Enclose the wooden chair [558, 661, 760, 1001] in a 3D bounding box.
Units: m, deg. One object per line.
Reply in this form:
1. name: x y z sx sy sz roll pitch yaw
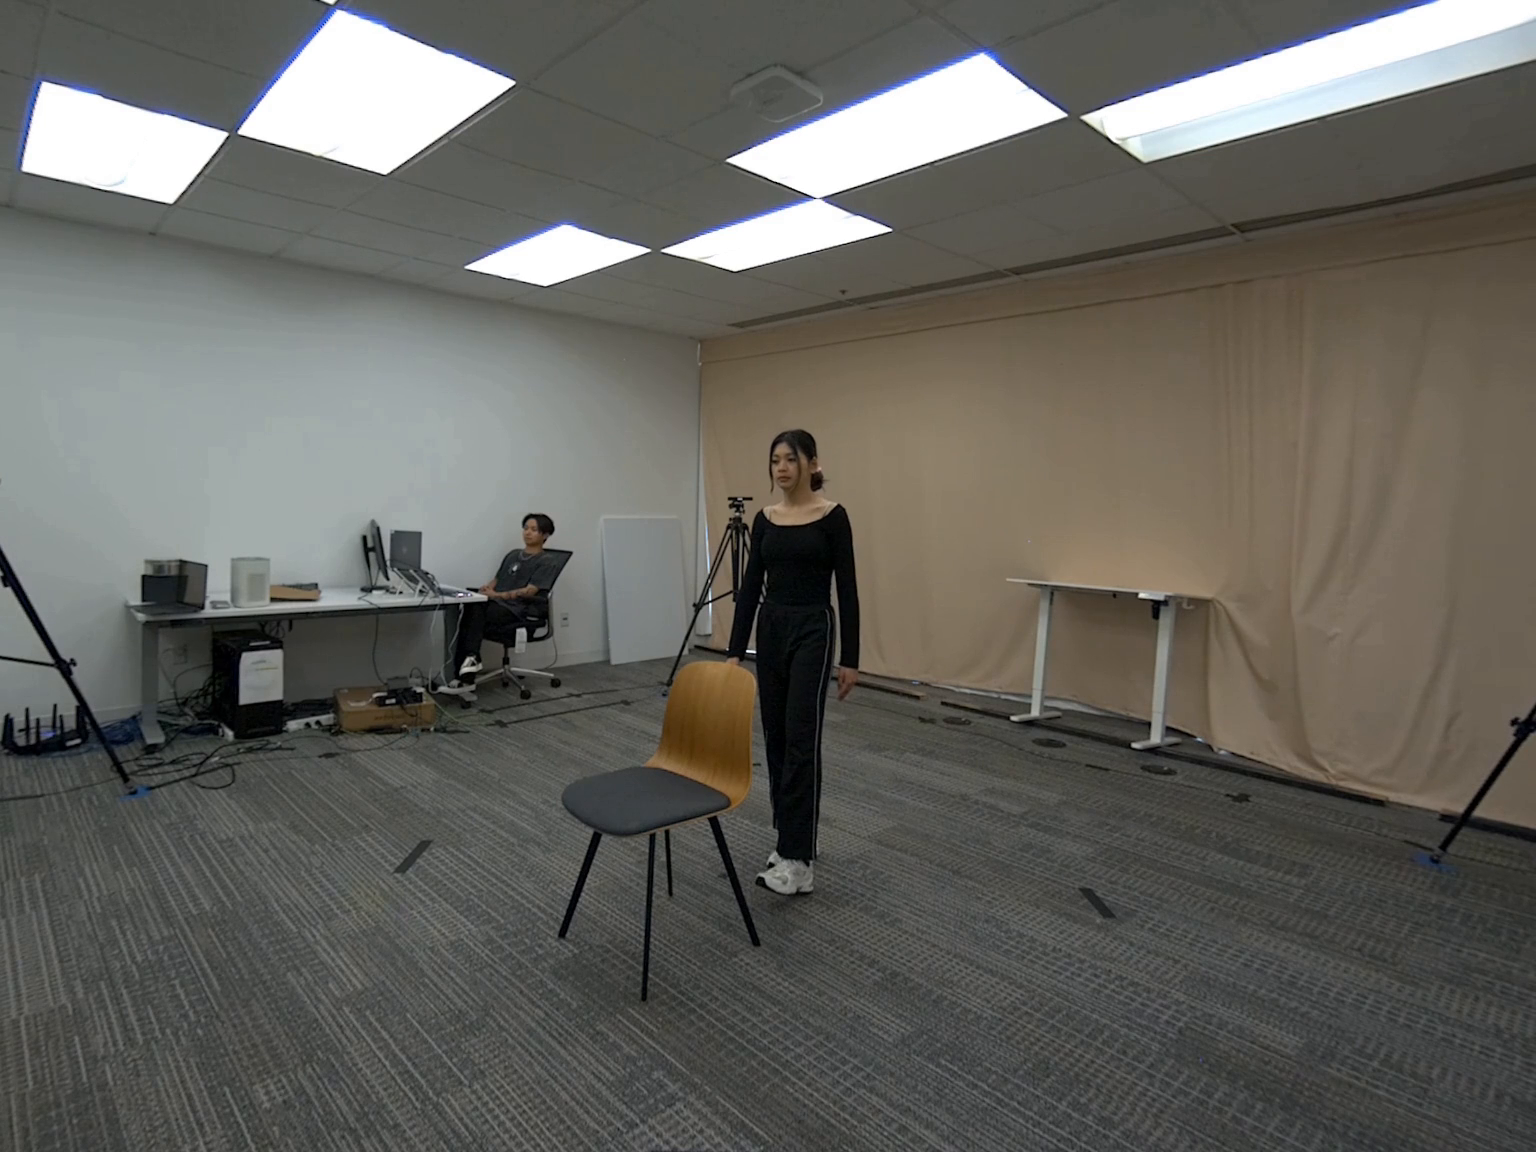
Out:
1. wooden chair: -0.342 0.723 2.592 0.510 0.877 0.490 4 1 -44
